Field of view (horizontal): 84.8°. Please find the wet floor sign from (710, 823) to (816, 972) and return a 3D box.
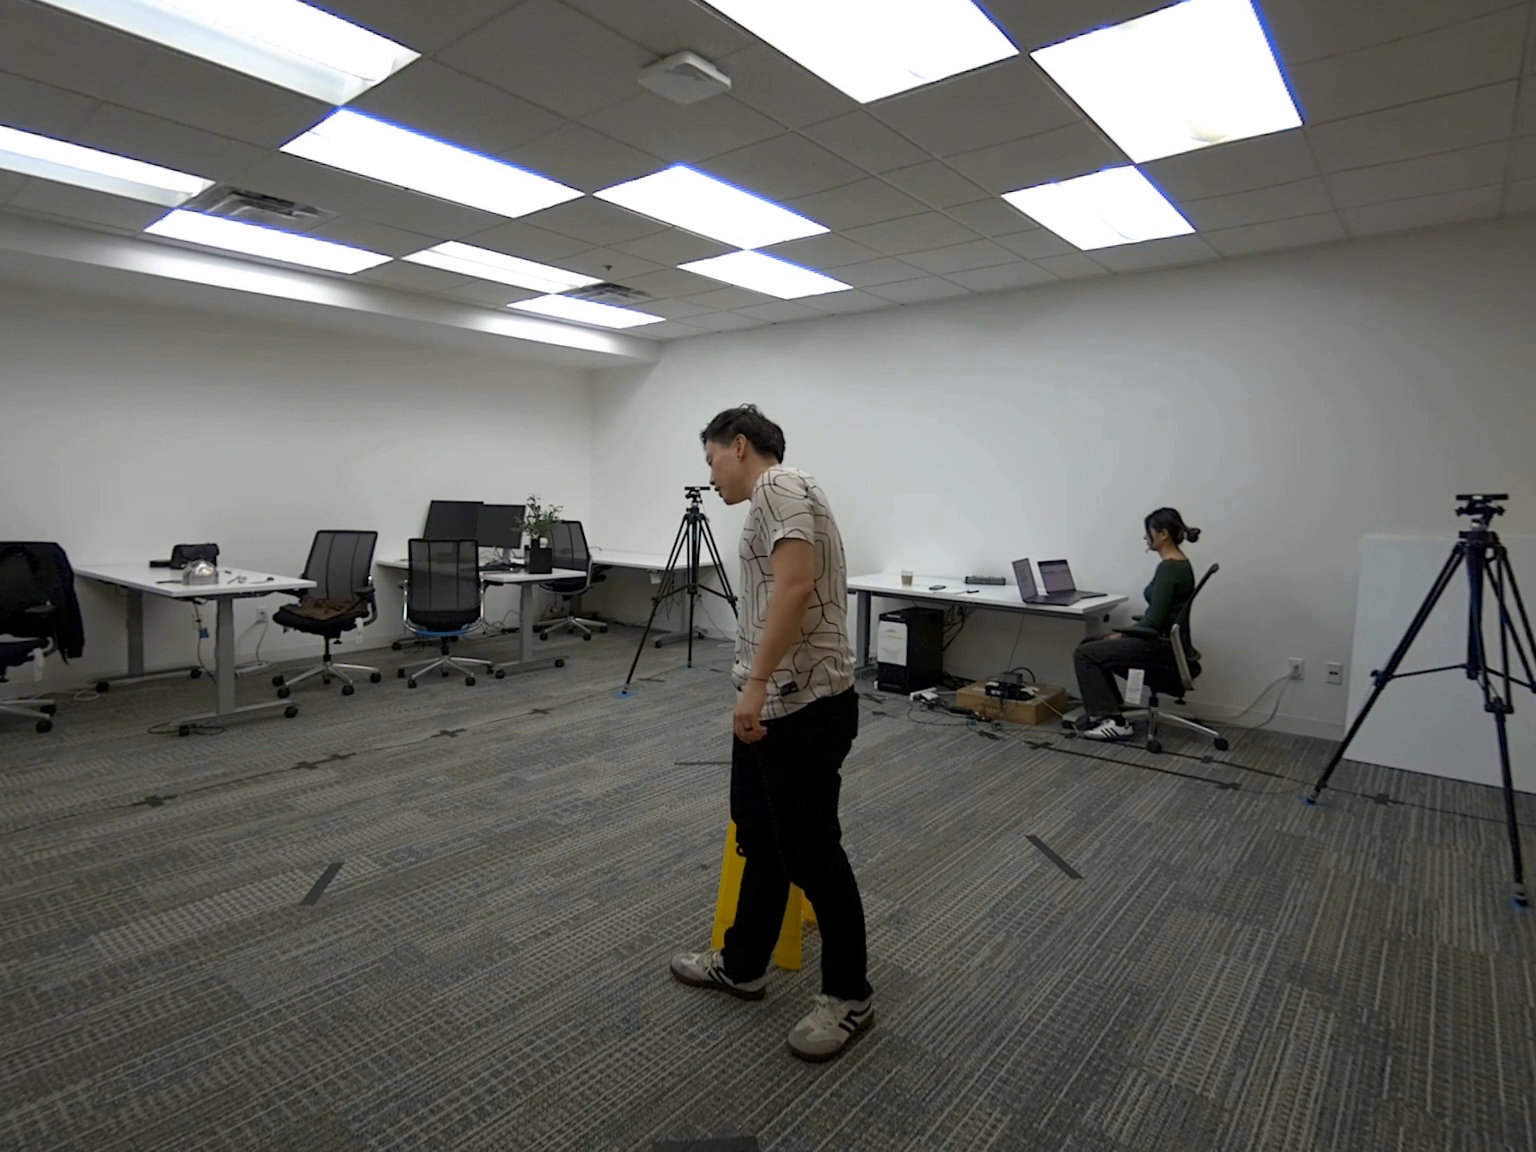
[{"bbox_3d":[0.010,0.790,2.627,0.289,0.645,0.283,3,2,21],"label":"wet floor sign"}]
